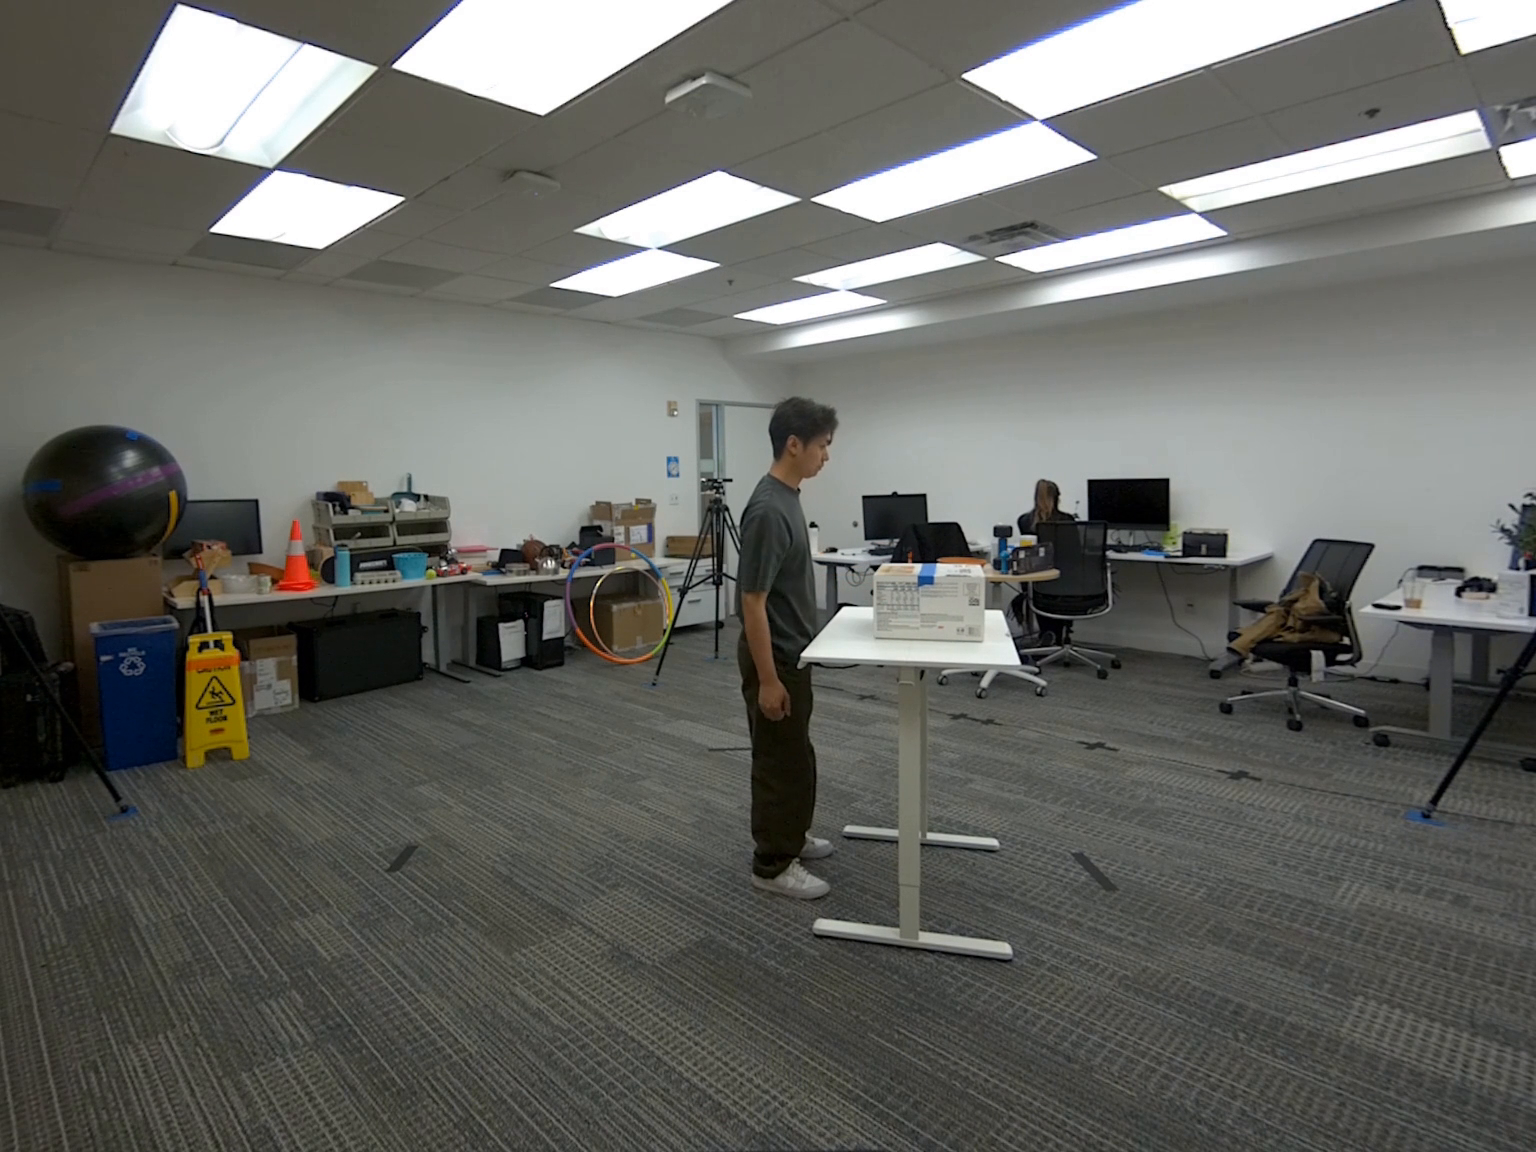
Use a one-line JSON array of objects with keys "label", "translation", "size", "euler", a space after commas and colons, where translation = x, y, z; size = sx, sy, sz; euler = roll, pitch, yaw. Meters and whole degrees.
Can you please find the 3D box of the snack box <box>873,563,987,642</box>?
[{"label": "snack box", "translation": [0.539, 0.080, 2.850], "size": [0.345, 0.205, 0.401], "euler": [0, 6, 13]}]
